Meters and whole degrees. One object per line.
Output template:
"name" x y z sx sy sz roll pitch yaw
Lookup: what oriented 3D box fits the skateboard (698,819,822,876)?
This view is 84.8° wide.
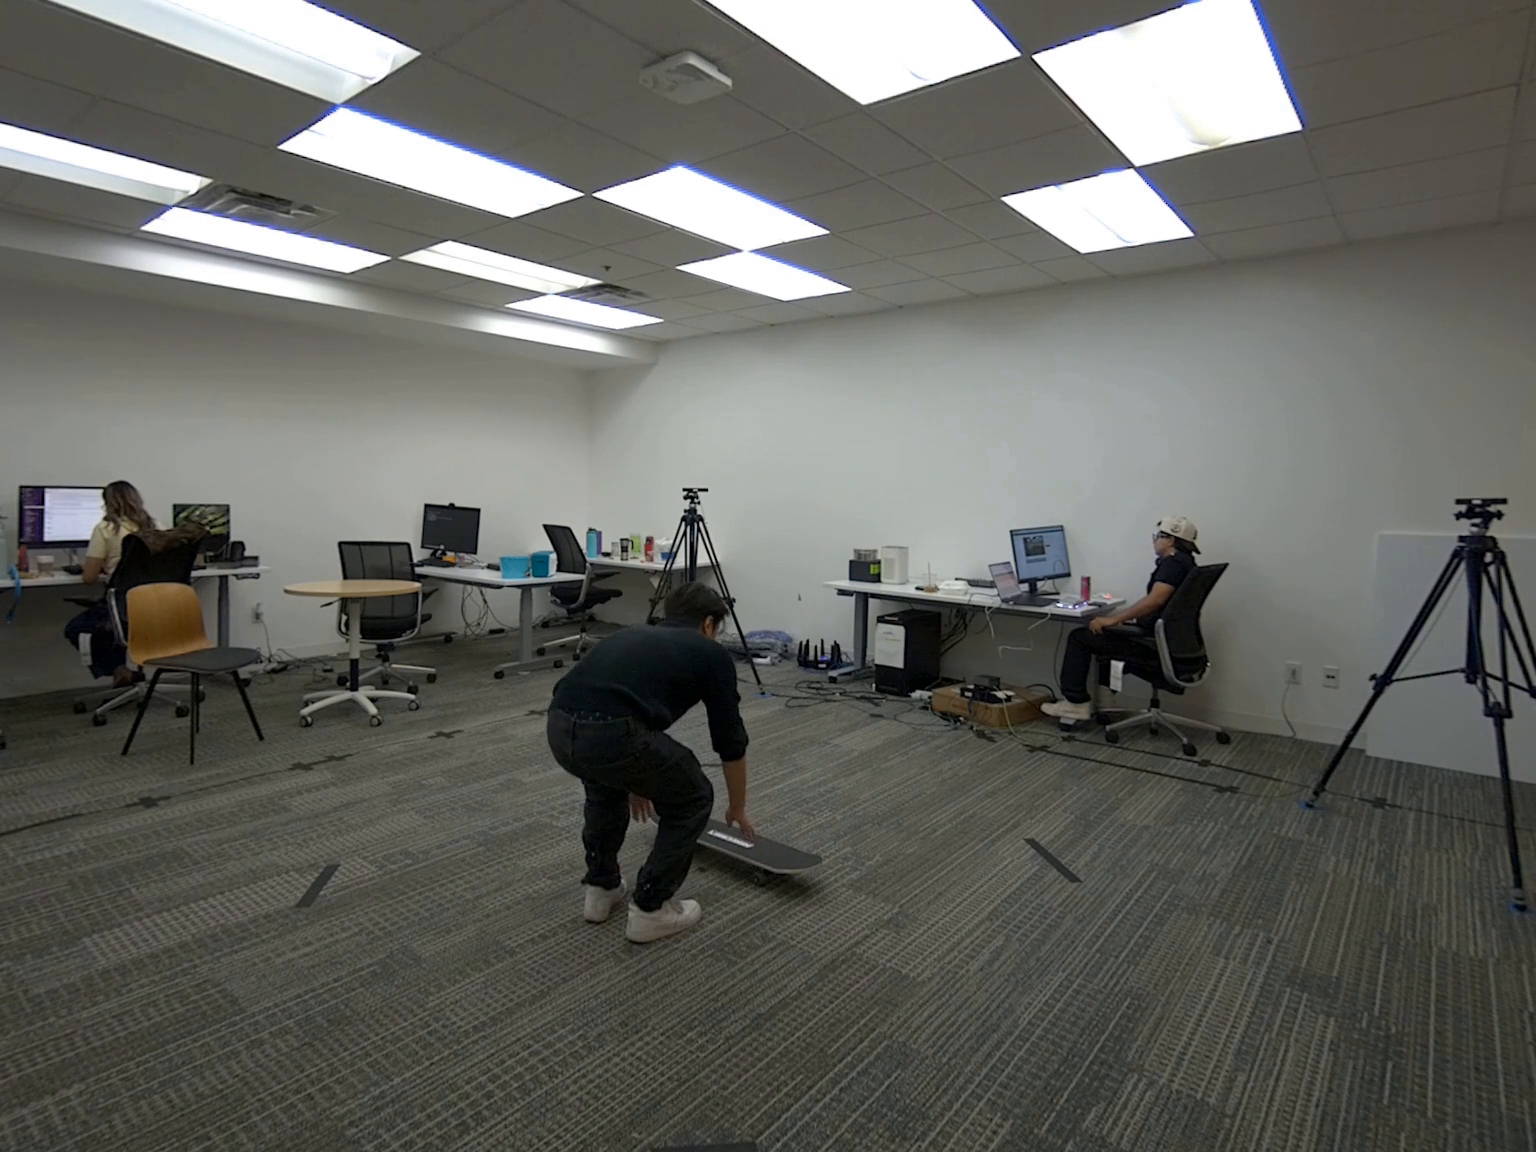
"skateboard" -0.154 0.999 3.172 0.812 0.110 0.188 6 7 38
